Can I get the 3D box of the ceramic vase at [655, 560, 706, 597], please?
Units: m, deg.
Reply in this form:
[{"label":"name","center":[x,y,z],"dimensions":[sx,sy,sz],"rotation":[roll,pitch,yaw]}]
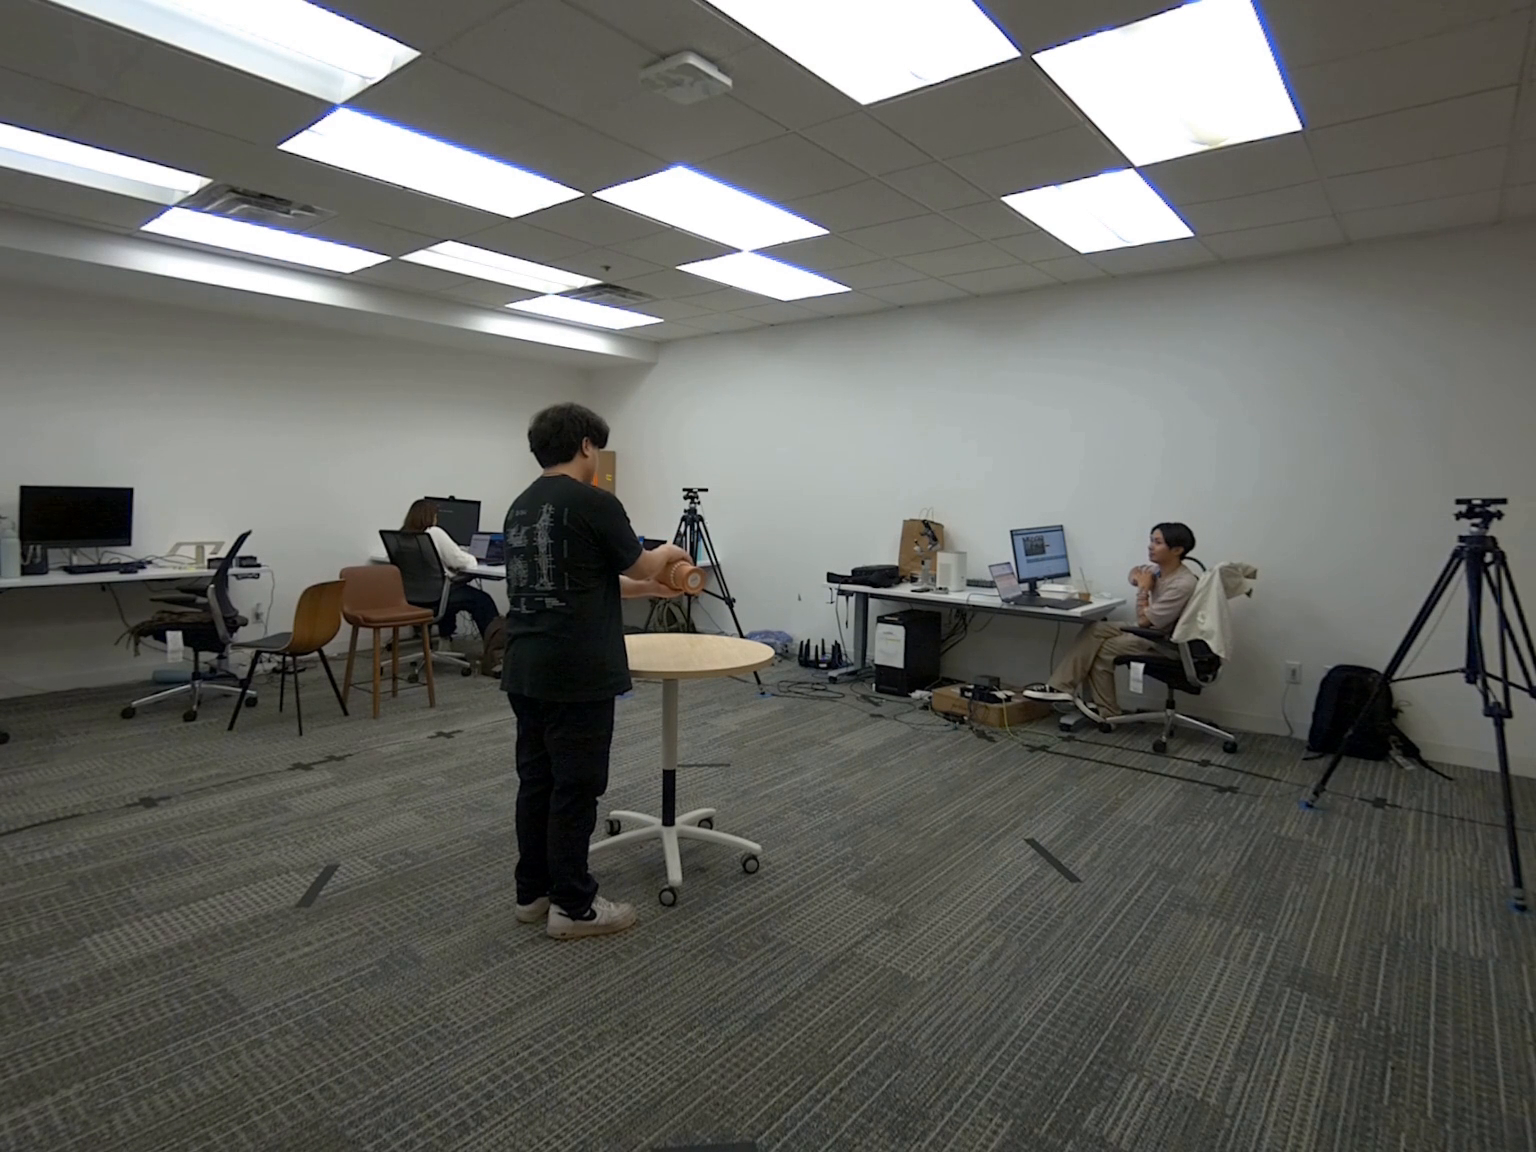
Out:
[{"label":"ceramic vase","center":[-0.339,-0.016,3.041],"dimensions":[0.158,0.129,0.228],"rotation":[-46,36,-18]}]
